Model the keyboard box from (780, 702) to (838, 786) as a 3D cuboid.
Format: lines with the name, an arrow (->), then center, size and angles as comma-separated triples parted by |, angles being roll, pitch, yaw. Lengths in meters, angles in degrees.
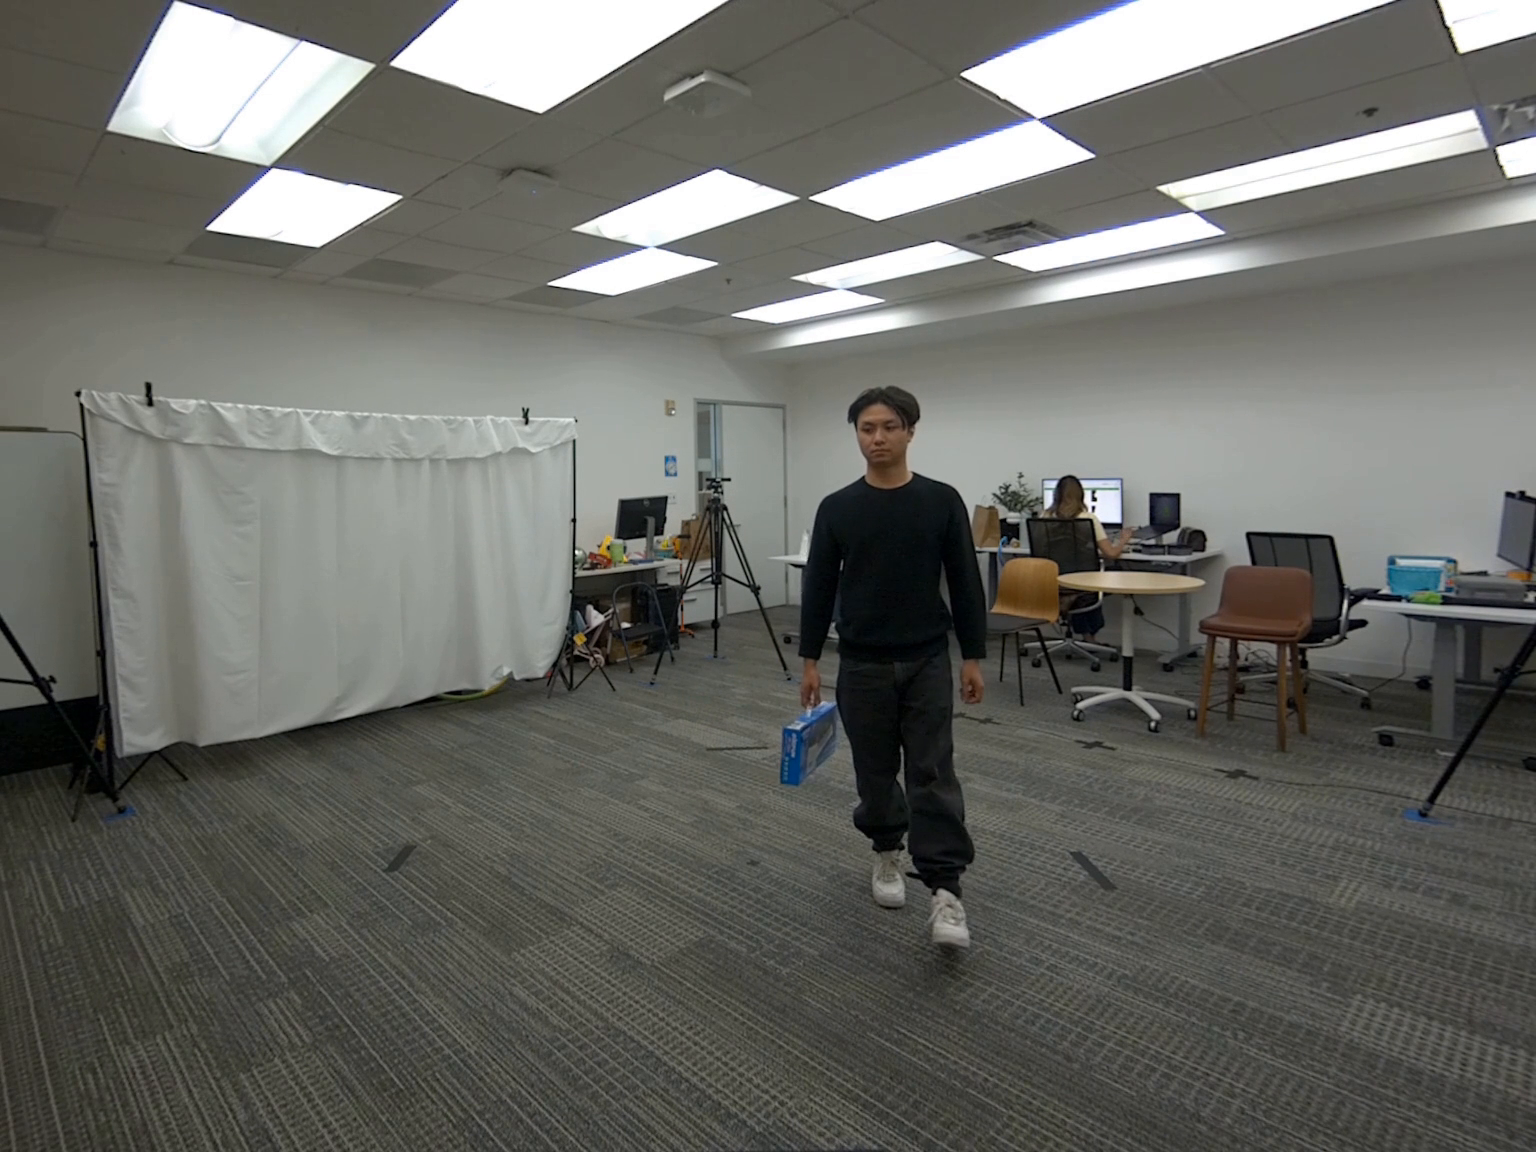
keyboard box -> 0.147, 0.539, 2.789 | 0.060, 0.175, 0.429 | 3, 4, 20
